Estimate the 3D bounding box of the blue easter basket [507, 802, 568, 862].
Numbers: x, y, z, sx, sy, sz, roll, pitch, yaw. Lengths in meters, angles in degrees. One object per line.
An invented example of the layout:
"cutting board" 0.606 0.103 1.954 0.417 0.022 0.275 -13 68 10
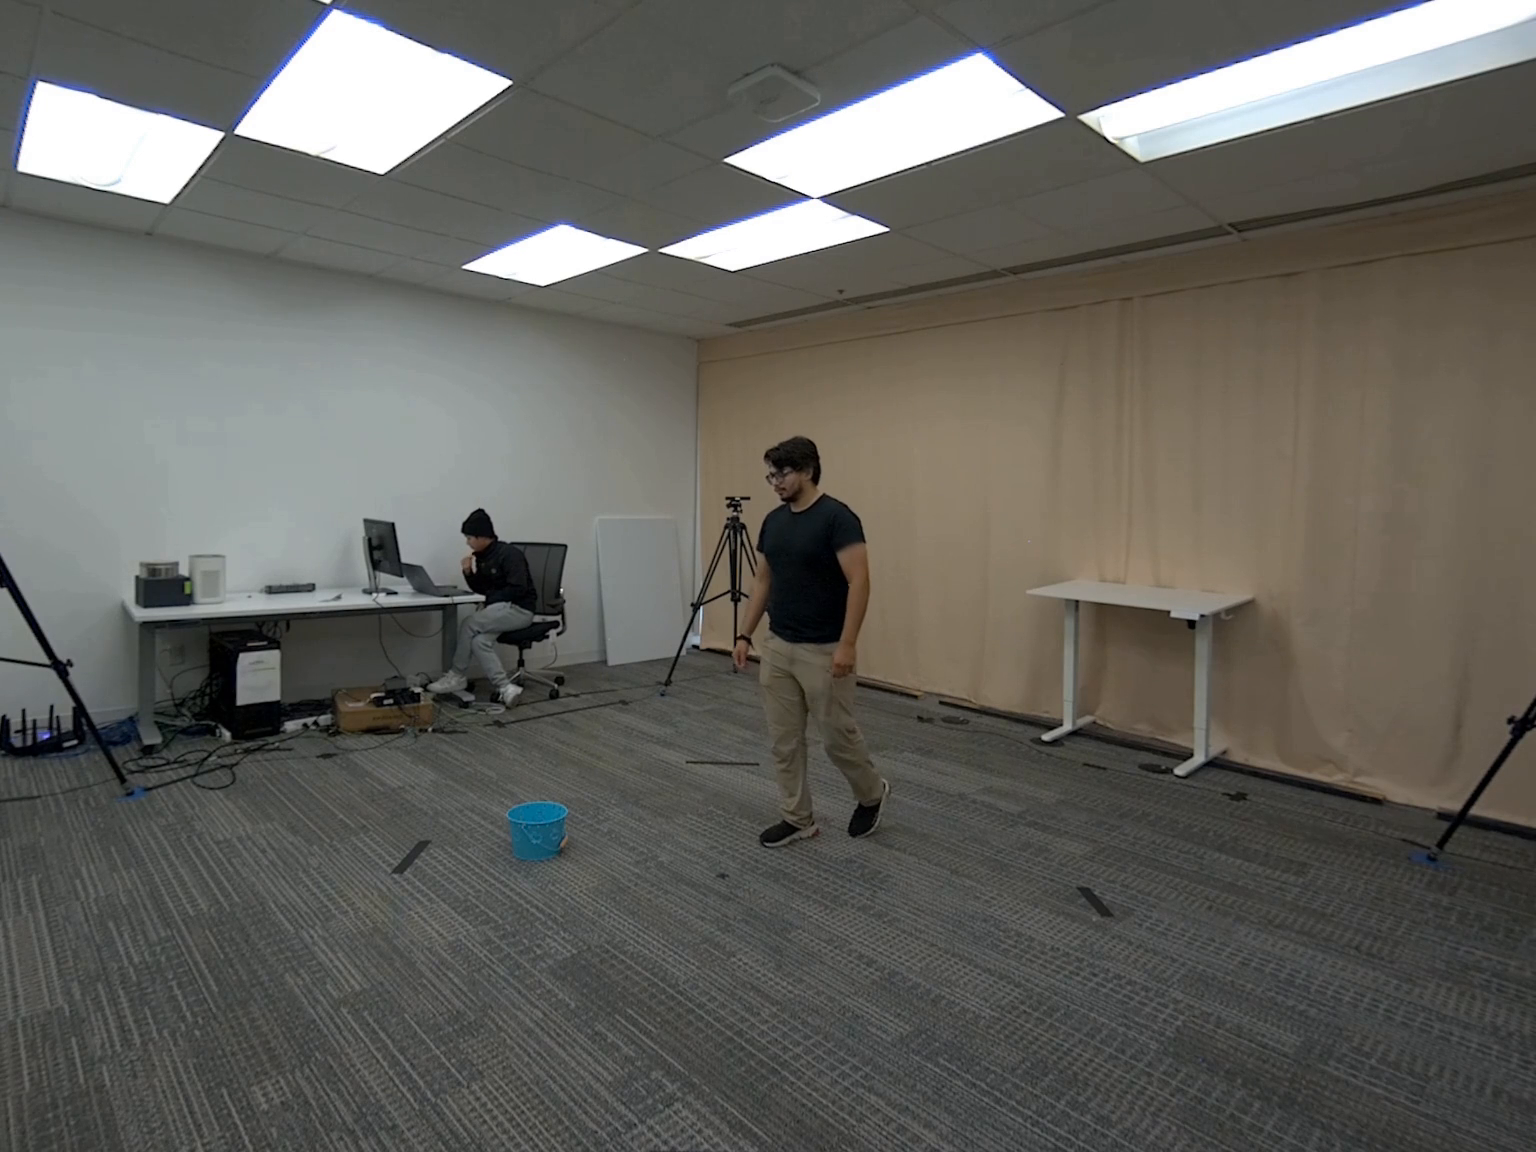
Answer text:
"blue easter basket" -0.906 0.998 3.280 0.243 0.155 0.244 1 5 -1
